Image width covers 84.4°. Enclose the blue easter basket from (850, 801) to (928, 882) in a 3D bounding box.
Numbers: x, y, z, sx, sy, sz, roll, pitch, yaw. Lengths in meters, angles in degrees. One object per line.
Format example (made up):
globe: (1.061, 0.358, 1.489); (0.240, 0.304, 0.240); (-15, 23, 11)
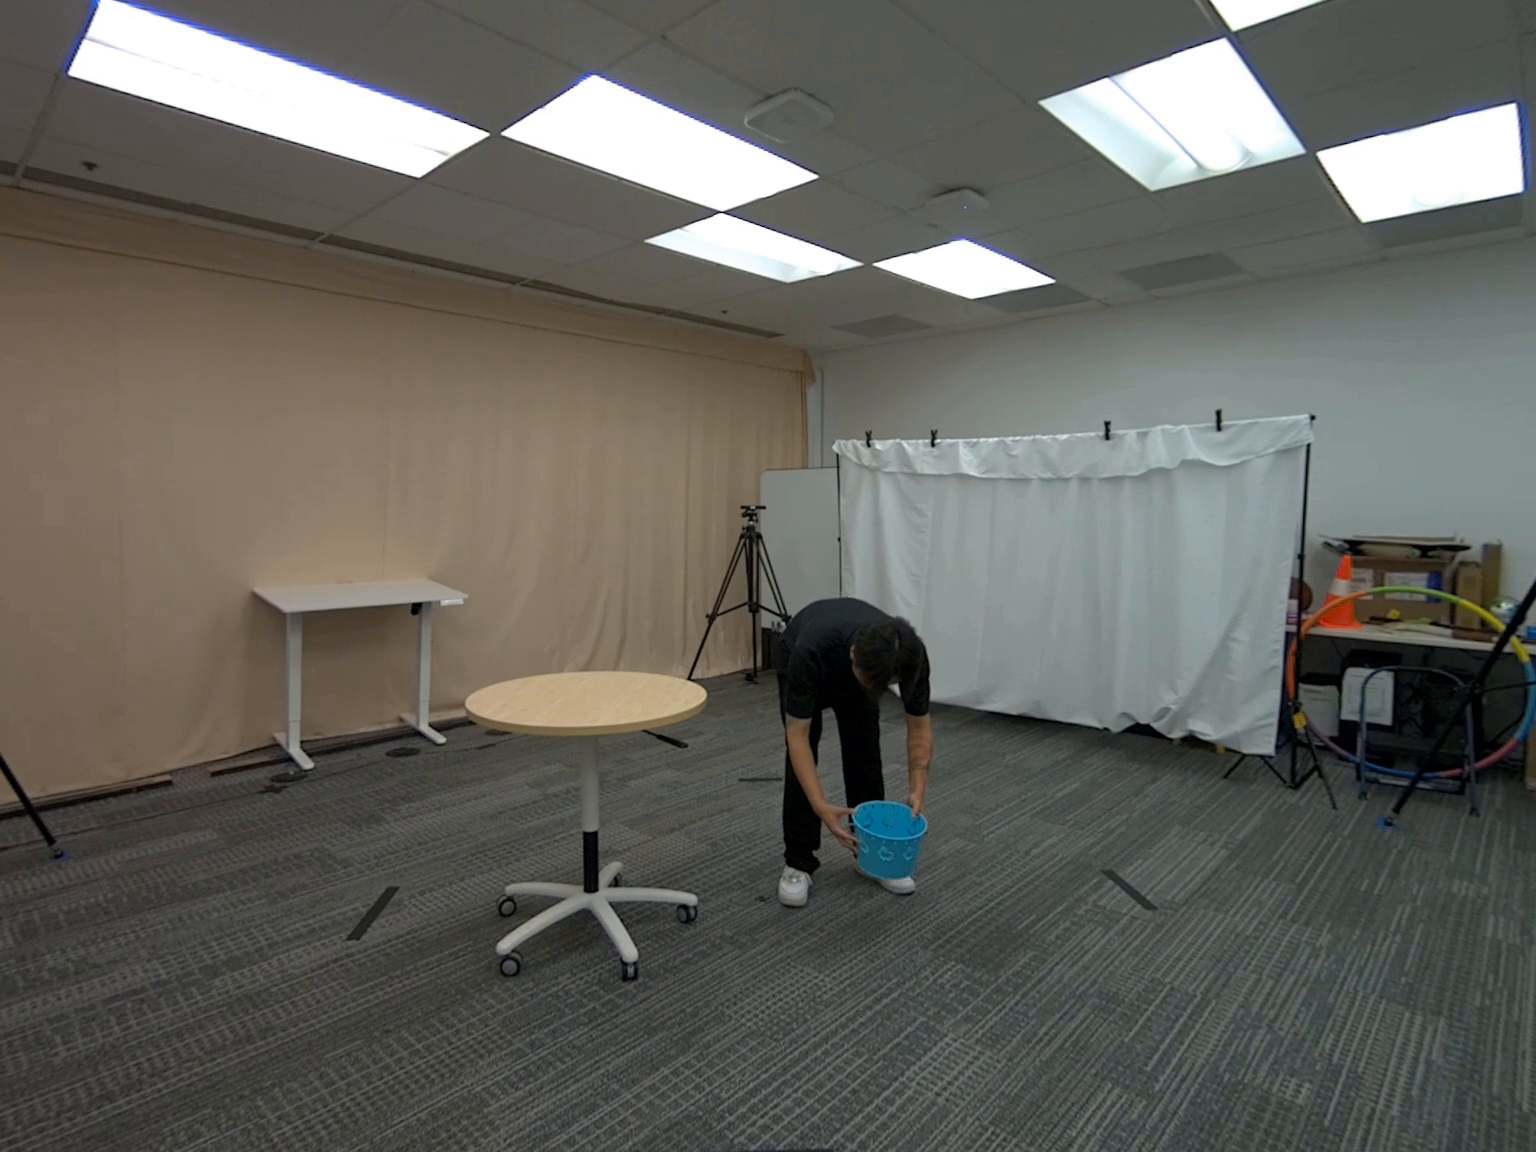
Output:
blue easter basket: (0.380, 0.832, 2.631); (0.243, 0.155, 0.245); (1, 11, -2)
